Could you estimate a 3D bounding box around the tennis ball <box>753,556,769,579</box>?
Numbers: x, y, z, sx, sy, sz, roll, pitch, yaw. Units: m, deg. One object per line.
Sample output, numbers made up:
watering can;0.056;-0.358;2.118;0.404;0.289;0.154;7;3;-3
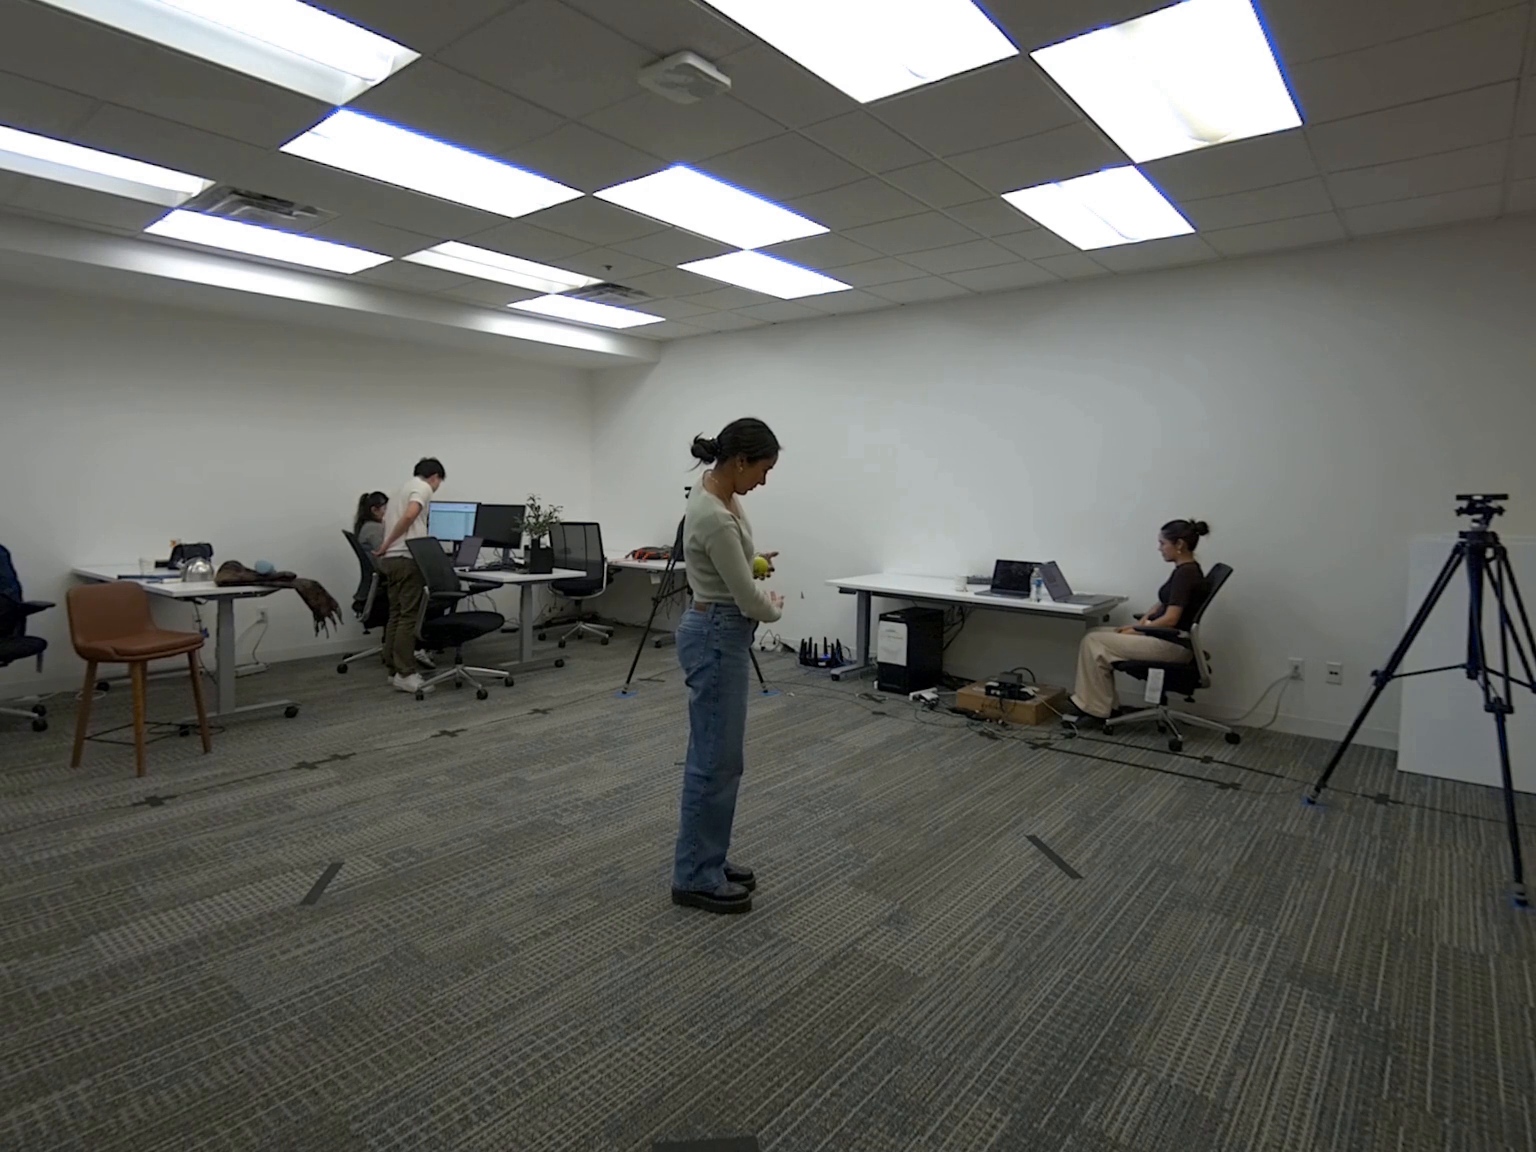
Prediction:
tennis ball;-0.044;-0.048;2.941;0.066;0.066;0.067;1;4;-2
